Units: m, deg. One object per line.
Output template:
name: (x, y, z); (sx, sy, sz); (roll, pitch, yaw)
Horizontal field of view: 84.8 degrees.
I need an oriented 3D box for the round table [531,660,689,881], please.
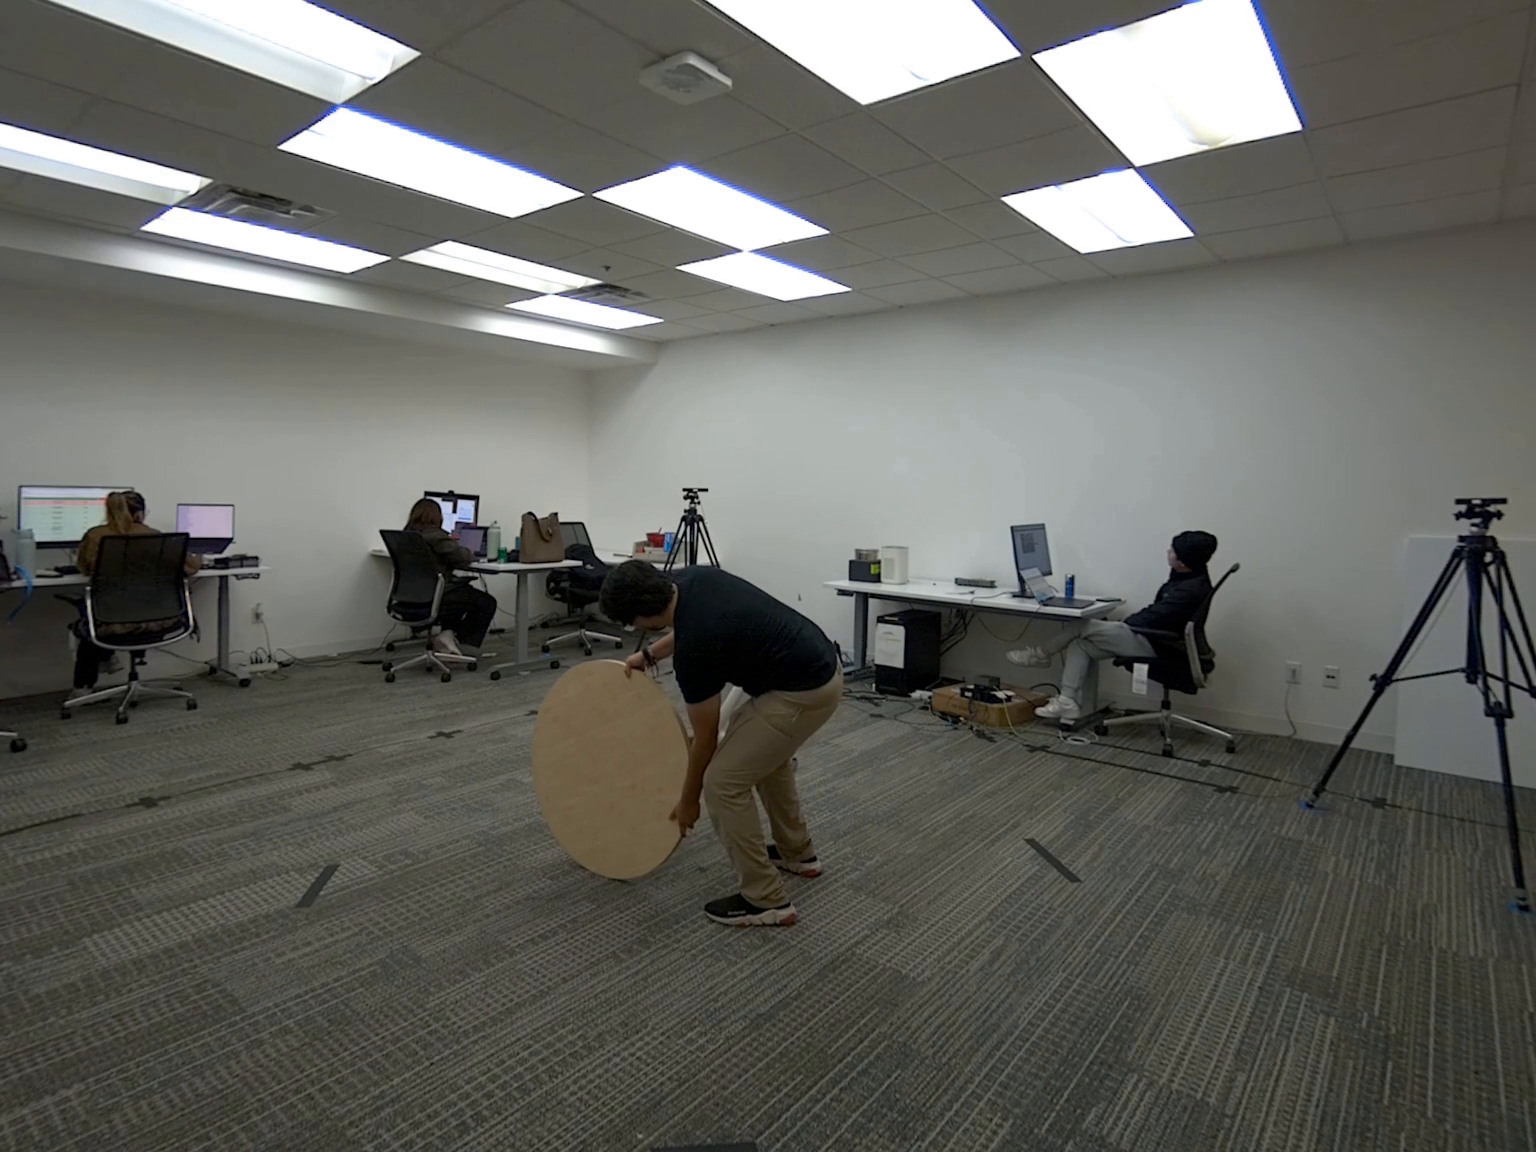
round table: (-0.393, 0.669, 3.371); (0.809, 0.785, 0.763); (3, 2, 32)
